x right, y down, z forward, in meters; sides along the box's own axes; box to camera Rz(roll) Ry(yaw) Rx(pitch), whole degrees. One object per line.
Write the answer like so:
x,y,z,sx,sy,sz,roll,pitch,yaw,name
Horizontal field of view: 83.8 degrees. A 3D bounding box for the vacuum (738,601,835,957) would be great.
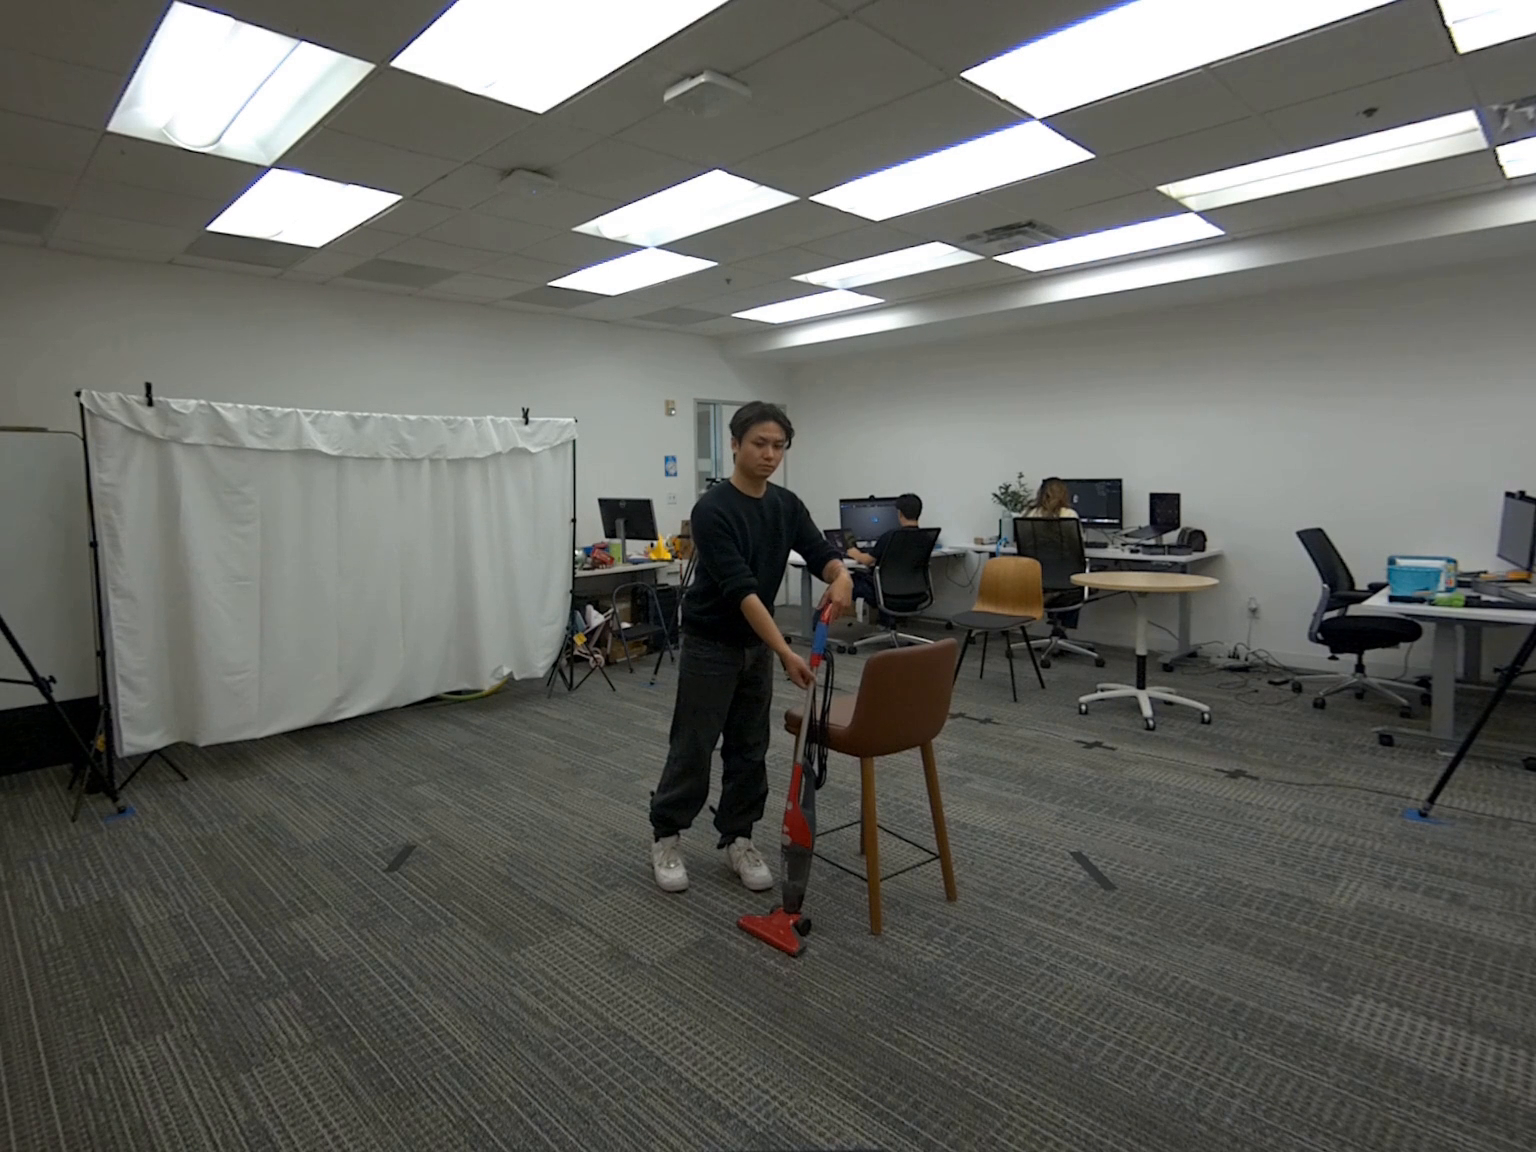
0.132,0.576,2.688,0.139,1.053,0.260,12,-6,-44,vacuum
